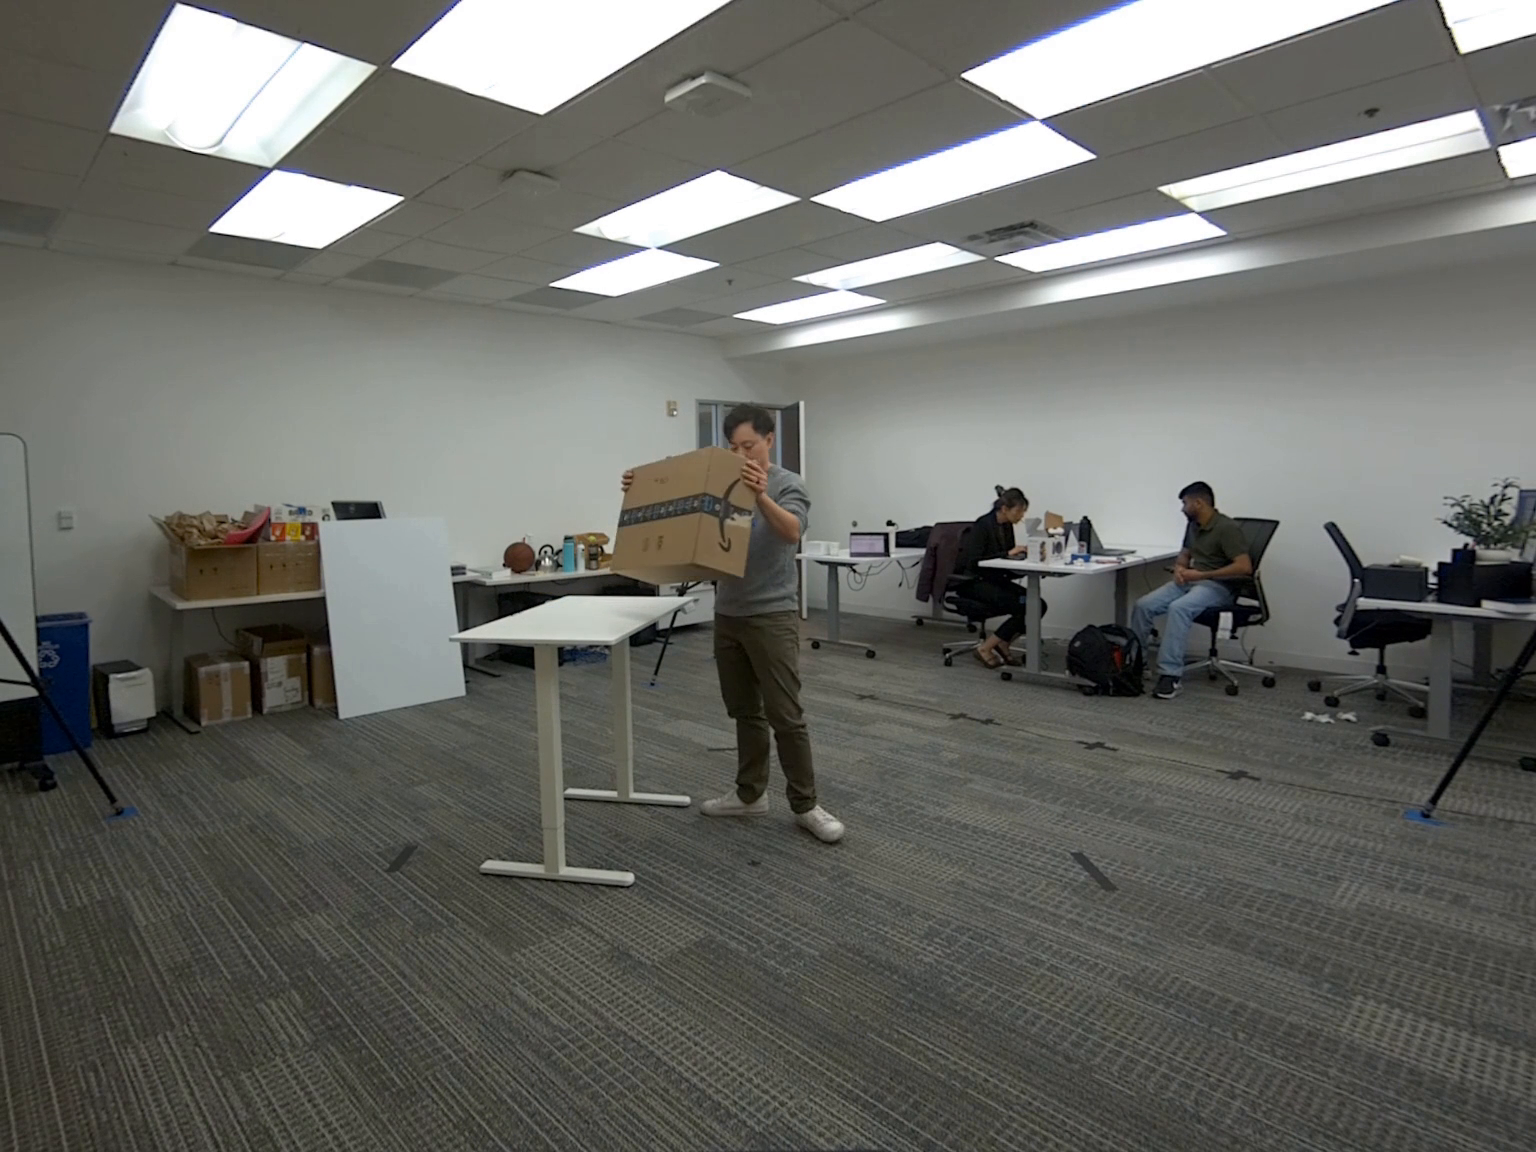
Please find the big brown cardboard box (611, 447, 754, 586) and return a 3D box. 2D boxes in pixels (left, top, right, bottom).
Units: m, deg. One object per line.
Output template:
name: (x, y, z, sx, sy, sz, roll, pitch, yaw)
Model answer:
big brown cardboard box: (-0.306, -0.201, 3.128, 0.225, 0.421, 0.603, 18, -14, -35)
